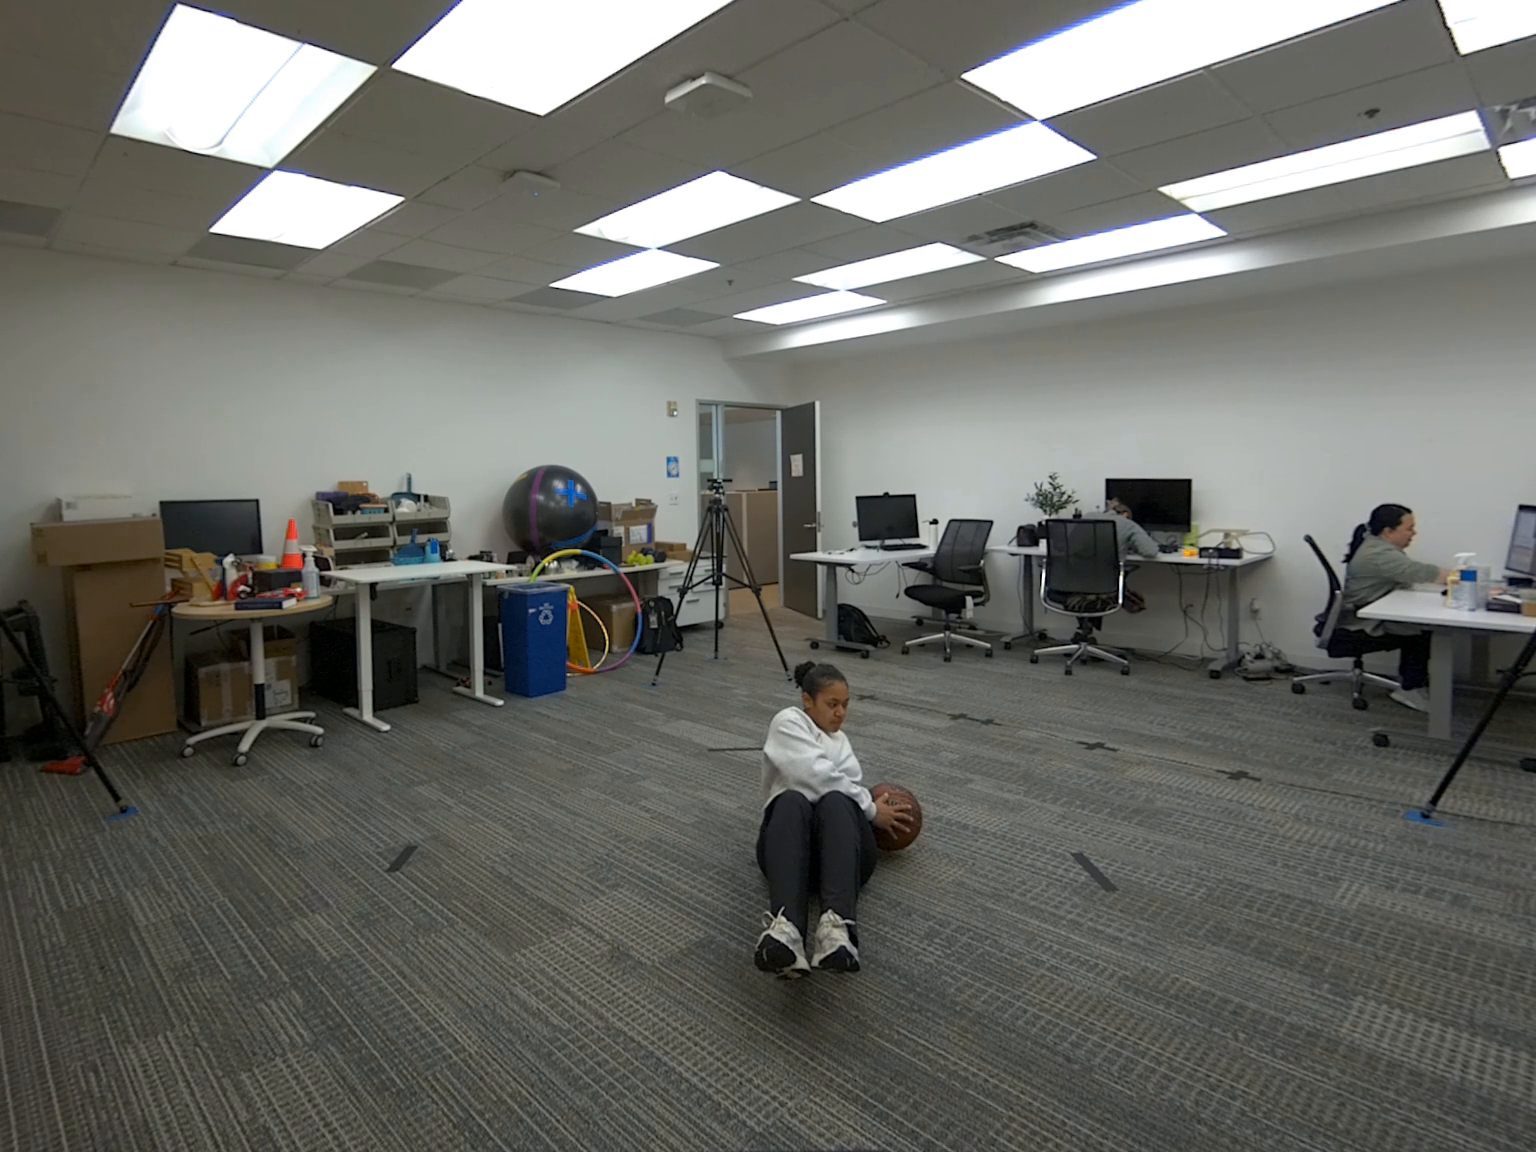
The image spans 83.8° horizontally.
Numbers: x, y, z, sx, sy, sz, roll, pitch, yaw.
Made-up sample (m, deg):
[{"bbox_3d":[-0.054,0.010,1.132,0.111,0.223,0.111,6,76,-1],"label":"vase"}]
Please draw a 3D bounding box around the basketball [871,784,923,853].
[{"bbox_3d":[0.447,0.860,3.128,0.236,0.235,0.237,-1,5,-2],"label":"basketball"}]
